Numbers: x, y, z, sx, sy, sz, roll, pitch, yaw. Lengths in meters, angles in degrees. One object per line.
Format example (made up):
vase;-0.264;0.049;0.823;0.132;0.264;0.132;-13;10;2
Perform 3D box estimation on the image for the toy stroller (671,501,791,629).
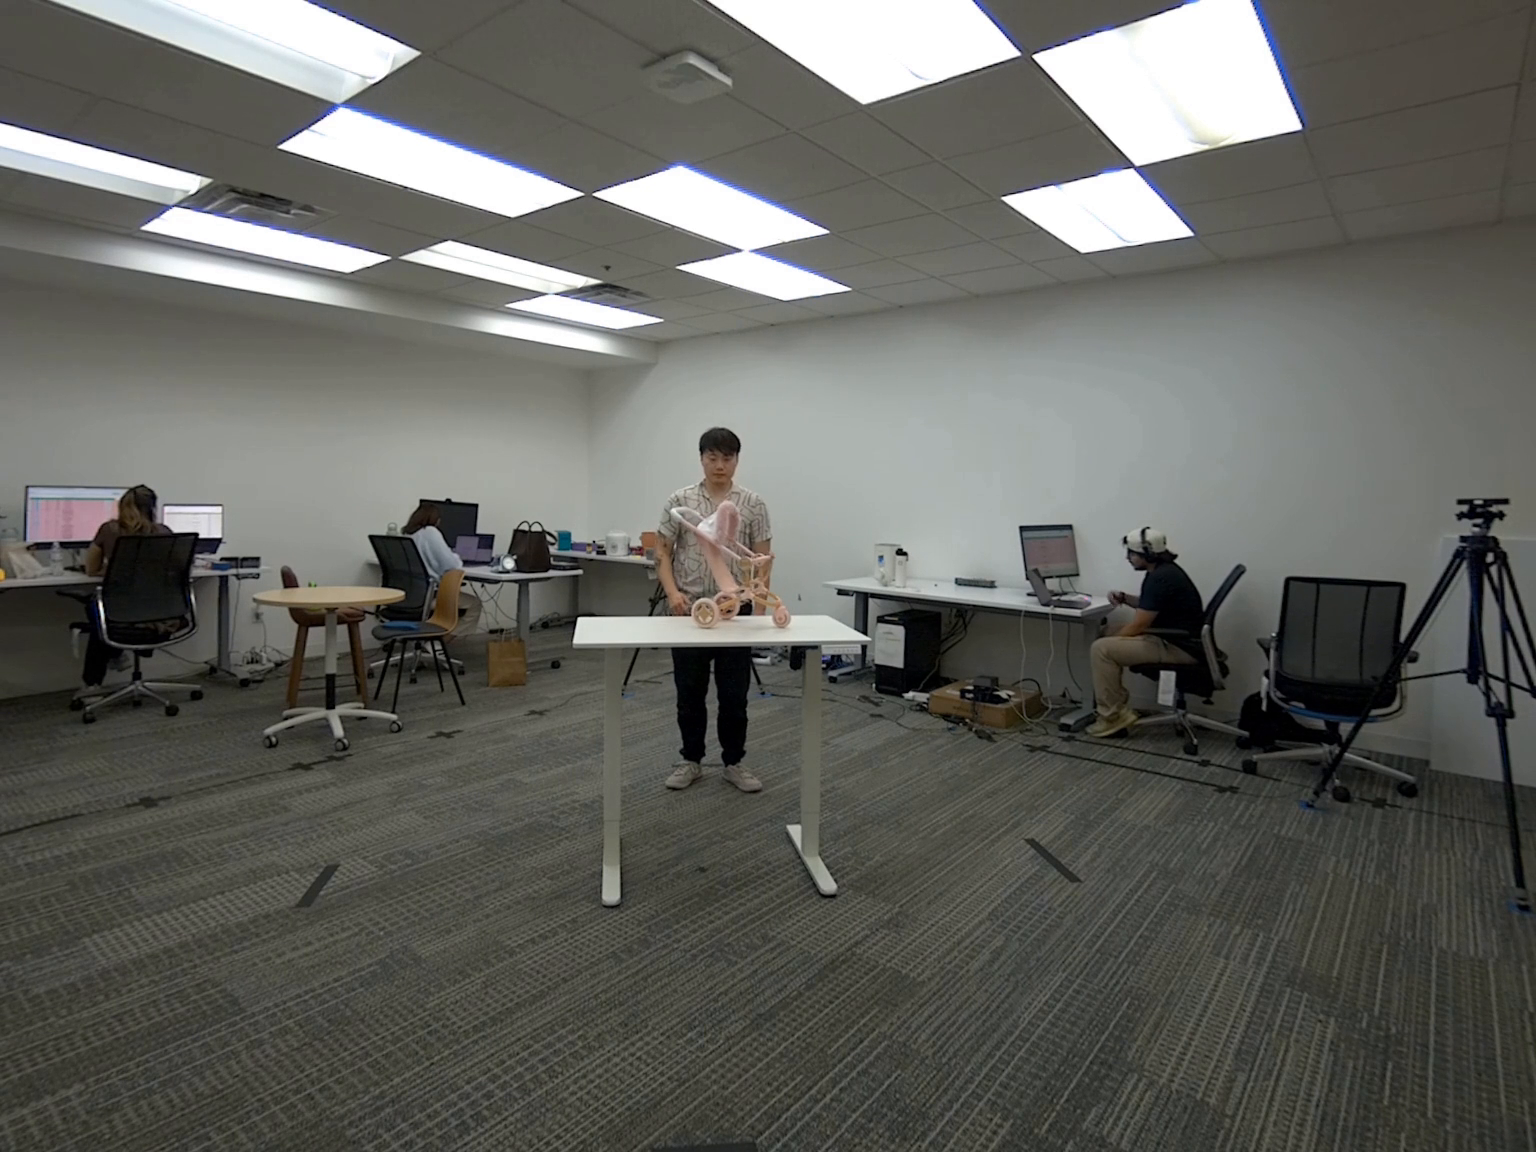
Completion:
toy stroller;-0.145;-0.044;3.184;0.347;0.537;0.276;-15;-3;22
